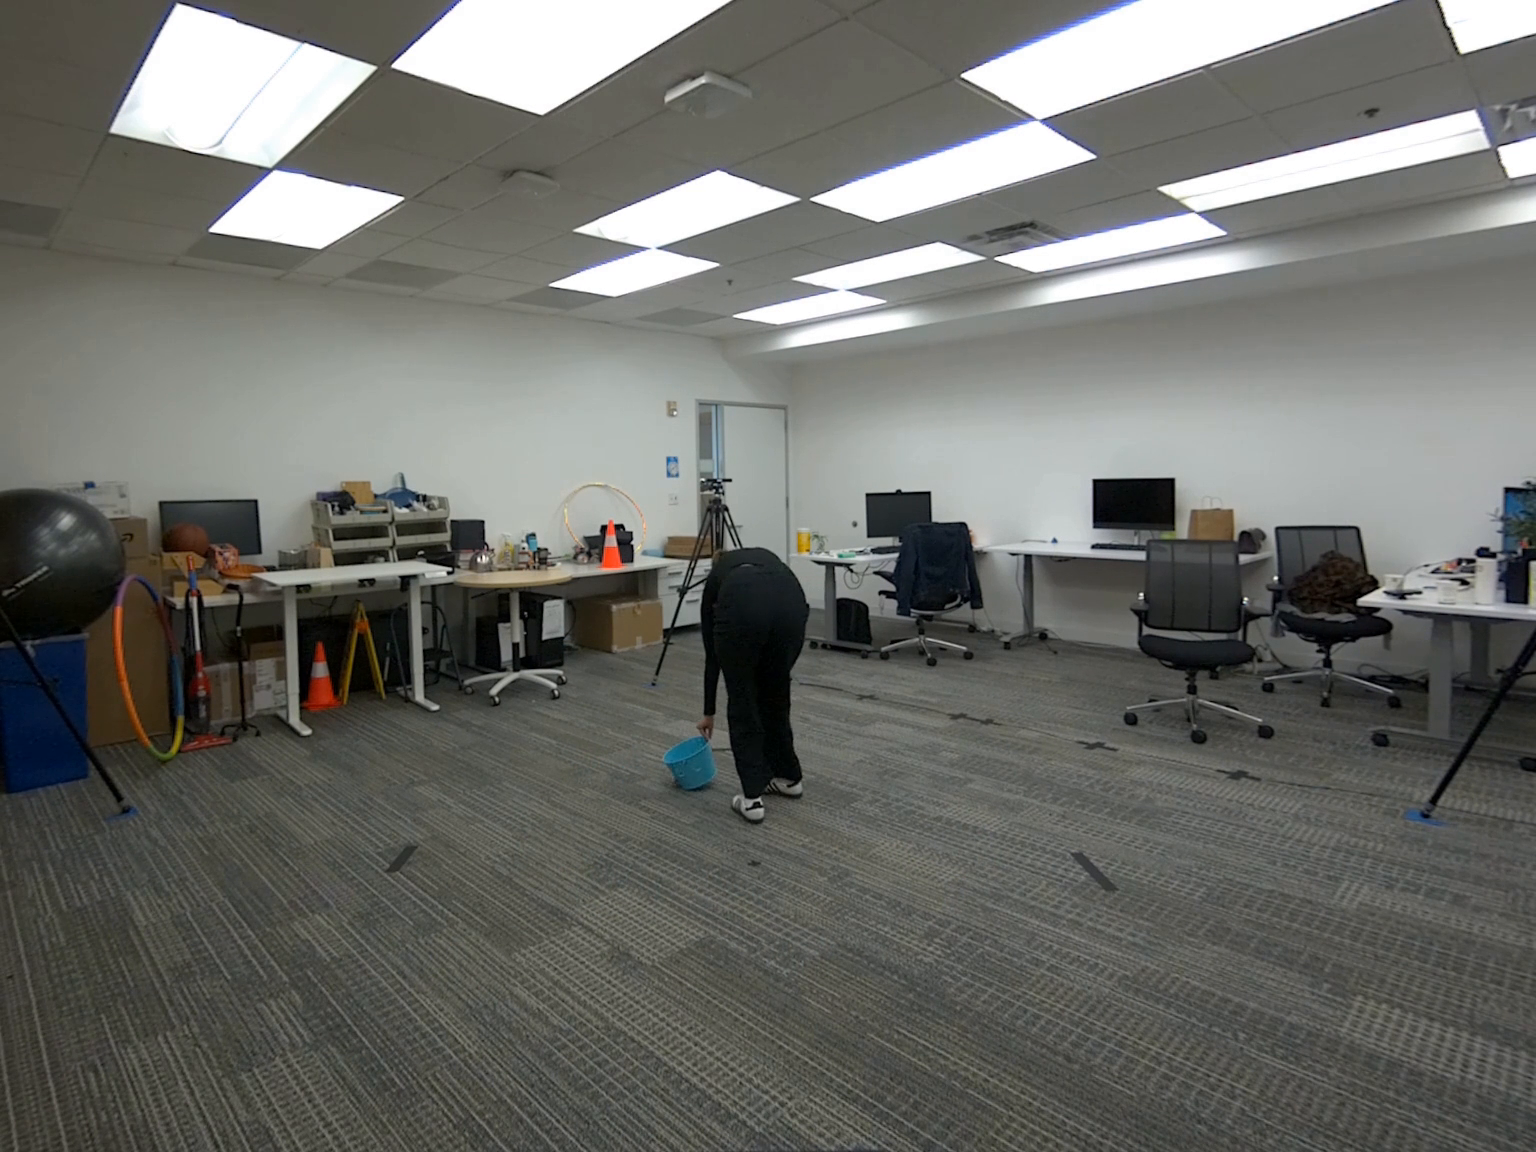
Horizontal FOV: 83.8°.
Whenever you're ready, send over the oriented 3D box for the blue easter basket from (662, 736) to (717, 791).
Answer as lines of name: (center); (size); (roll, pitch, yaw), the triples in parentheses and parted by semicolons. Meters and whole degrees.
blue easter basket: (-0.348, 0.860, 3.911); (0.244, 0.154, 0.245); (-22, 8, 1)
